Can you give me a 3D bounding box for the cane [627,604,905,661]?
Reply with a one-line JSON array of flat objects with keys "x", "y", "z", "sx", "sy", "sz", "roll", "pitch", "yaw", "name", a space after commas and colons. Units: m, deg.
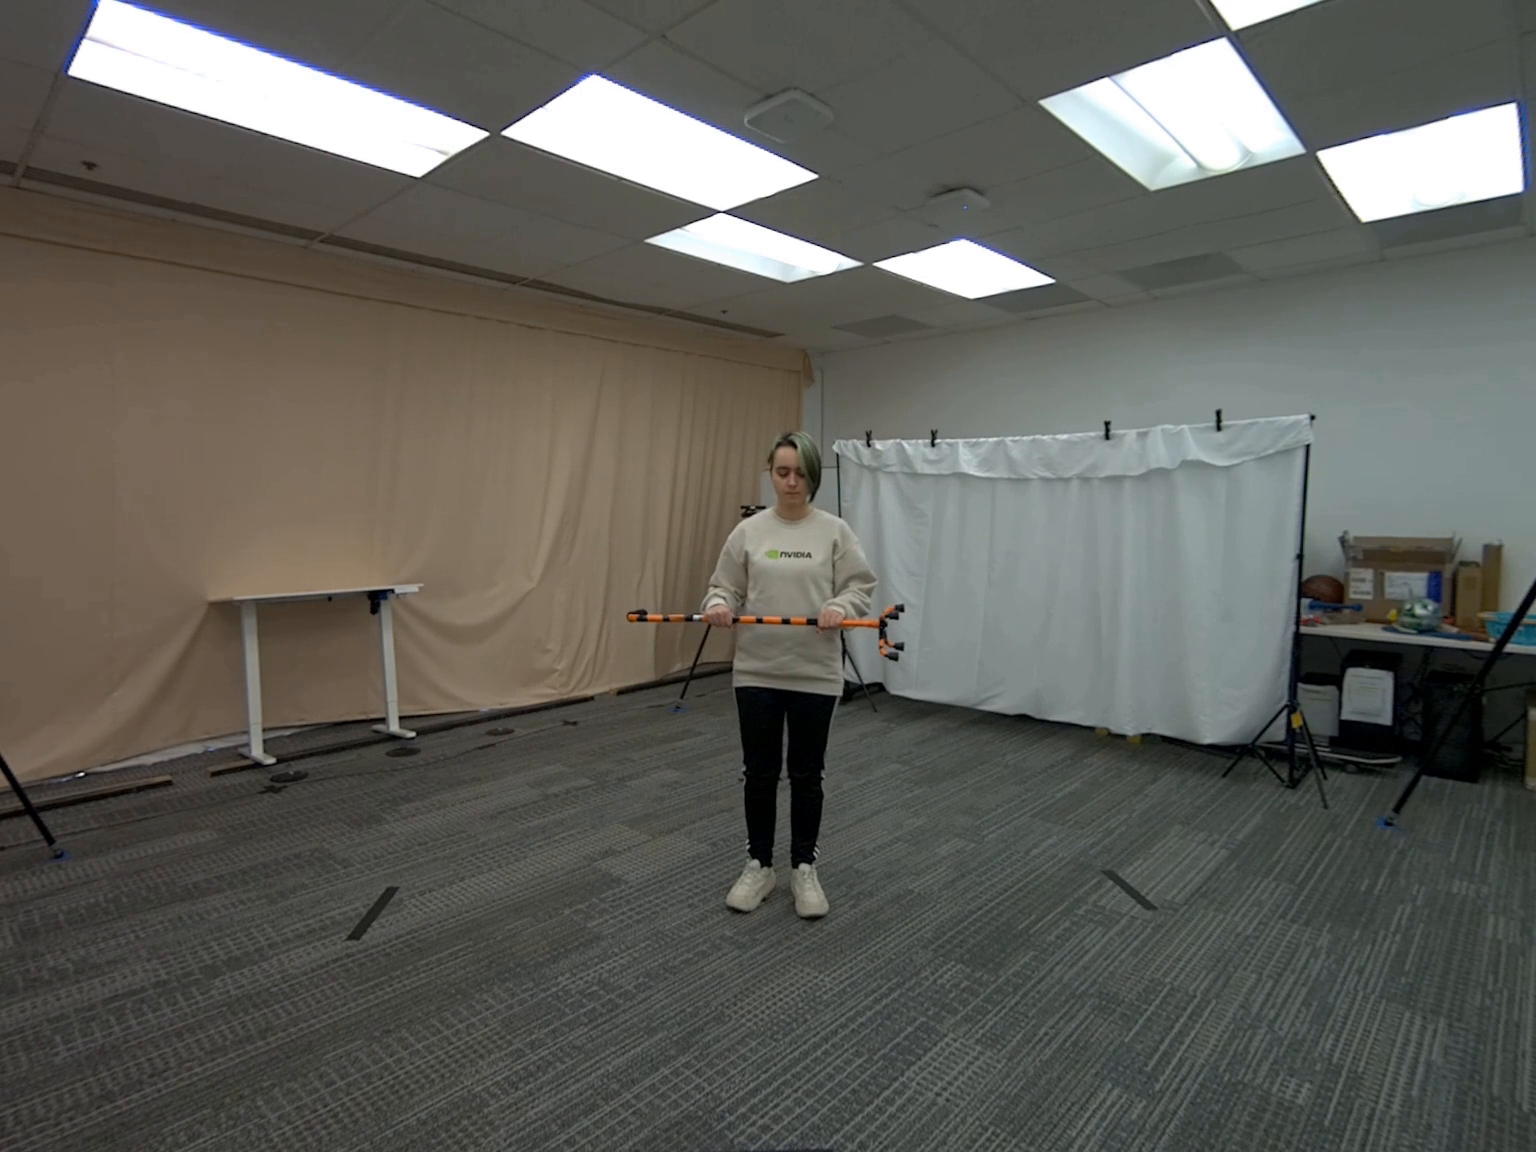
[{"x": -0.035, "y": 0.165, "z": 2.699, "sx": 0.925, "sy": 0.151, "sz": 0.203, "roll": 2, "pitch": 5, "yaw": 17, "name": "cane"}]
